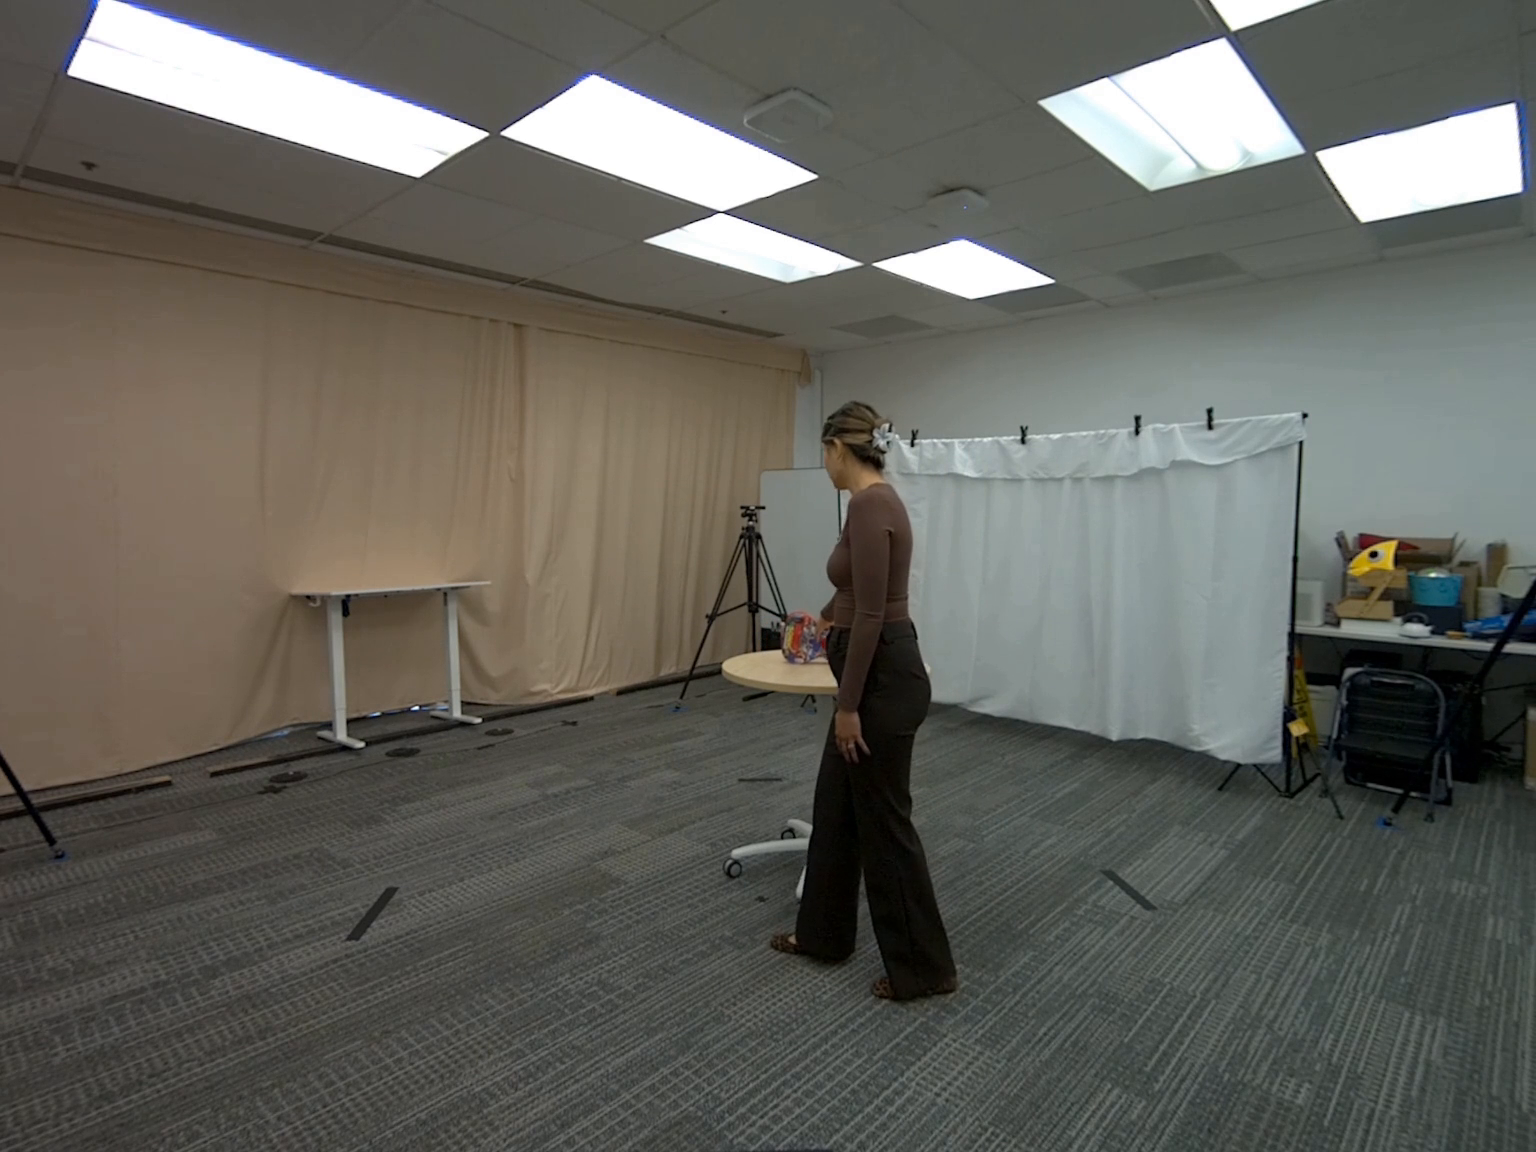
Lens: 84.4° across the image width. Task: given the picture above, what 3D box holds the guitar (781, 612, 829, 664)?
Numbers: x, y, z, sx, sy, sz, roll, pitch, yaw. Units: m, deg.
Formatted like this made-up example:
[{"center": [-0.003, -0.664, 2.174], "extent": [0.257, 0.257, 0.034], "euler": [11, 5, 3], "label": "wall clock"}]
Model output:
[{"center": [0.301, 0.290, 3.152], "extent": [0.503, 0.192, 0.070], "euler": [18, 6, 9], "label": "guitar"}]
